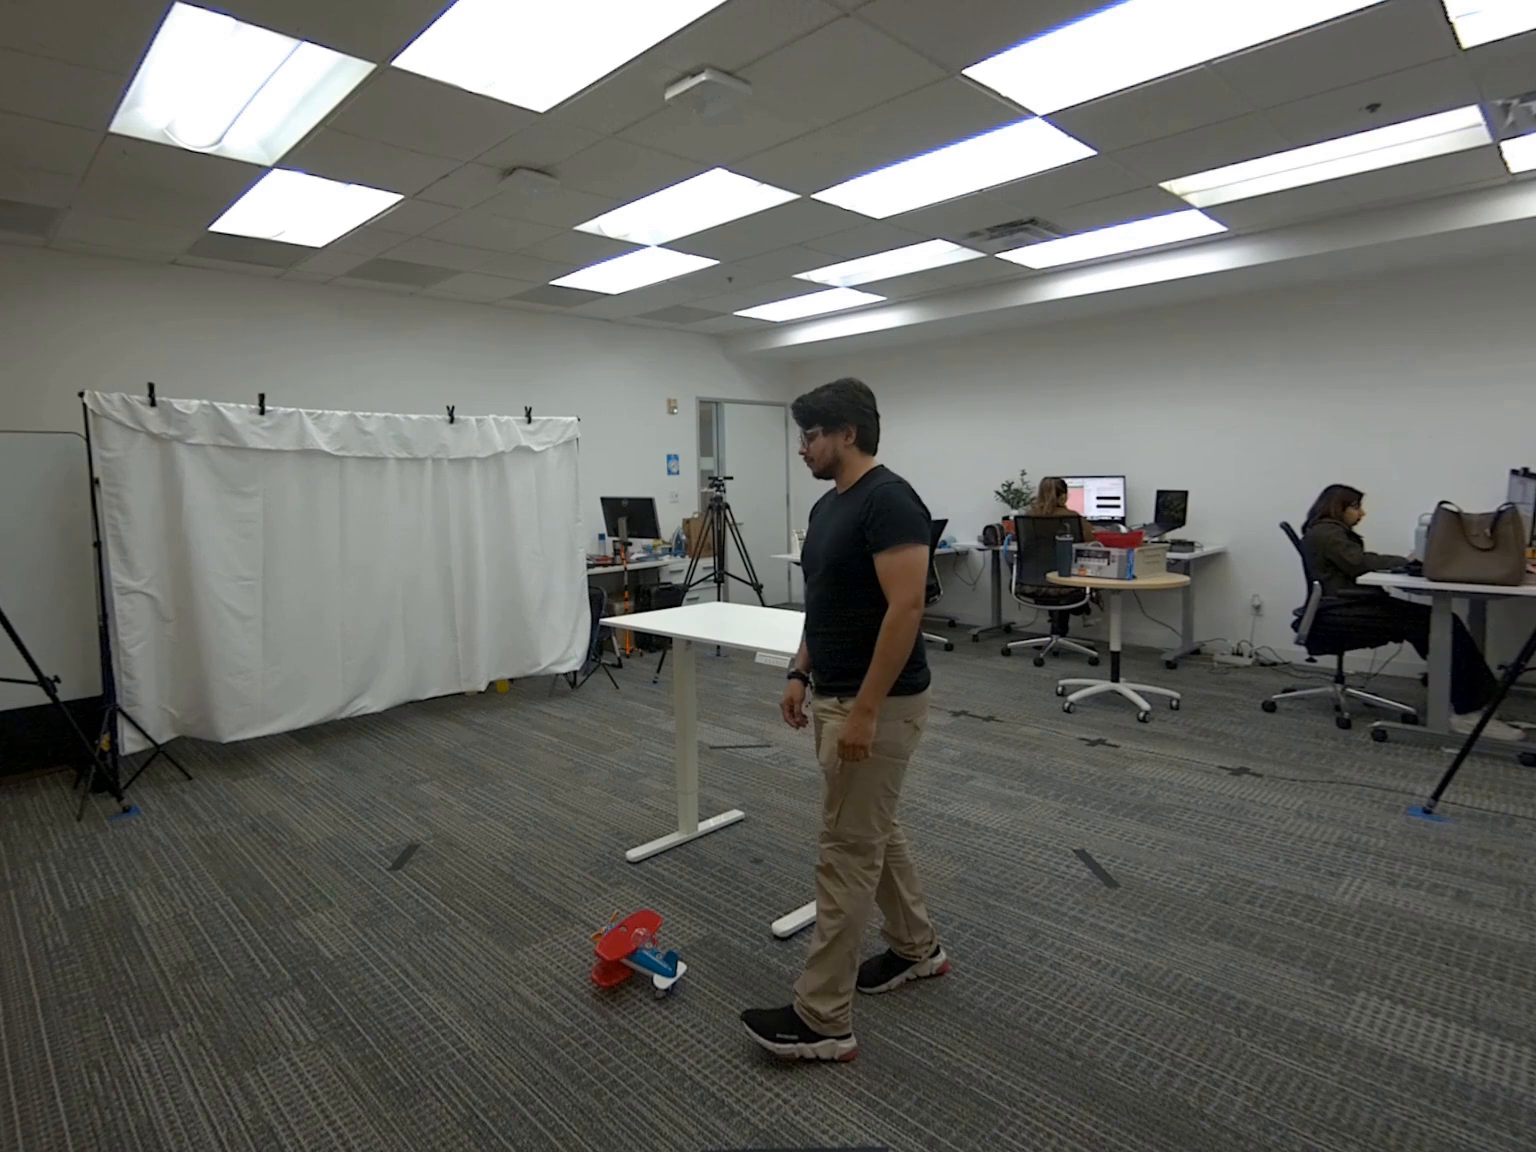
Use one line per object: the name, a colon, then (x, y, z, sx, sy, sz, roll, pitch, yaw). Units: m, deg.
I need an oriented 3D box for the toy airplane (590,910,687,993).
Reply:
toy airplane: (-0.345, 1.058, 2.383, 0.259, 0.155, 0.252, -3, 7, 0)
